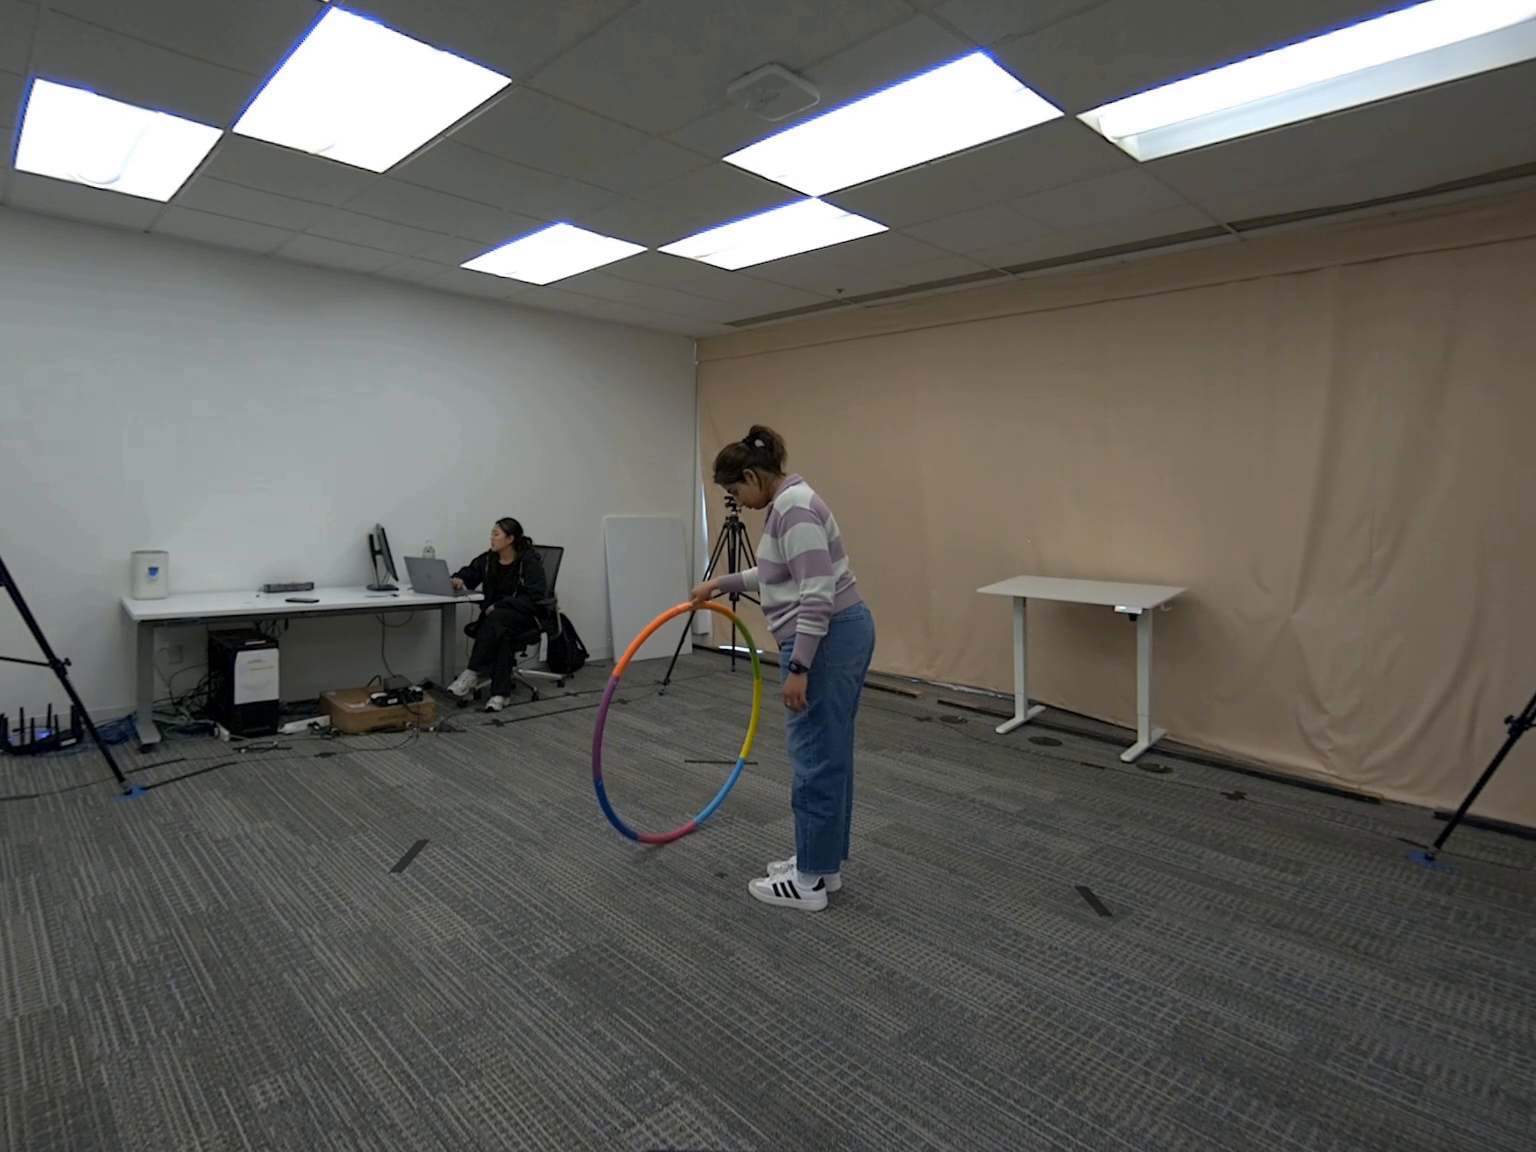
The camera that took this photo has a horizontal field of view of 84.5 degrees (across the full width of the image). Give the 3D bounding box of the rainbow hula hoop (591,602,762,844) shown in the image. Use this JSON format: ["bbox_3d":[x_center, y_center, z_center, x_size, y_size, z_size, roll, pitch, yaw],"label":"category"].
[{"bbox_3d":[-0.334,0.585,3.390,0.036,0.974,0.957,11,9,36],"label":"rainbow hula hoop"}]
